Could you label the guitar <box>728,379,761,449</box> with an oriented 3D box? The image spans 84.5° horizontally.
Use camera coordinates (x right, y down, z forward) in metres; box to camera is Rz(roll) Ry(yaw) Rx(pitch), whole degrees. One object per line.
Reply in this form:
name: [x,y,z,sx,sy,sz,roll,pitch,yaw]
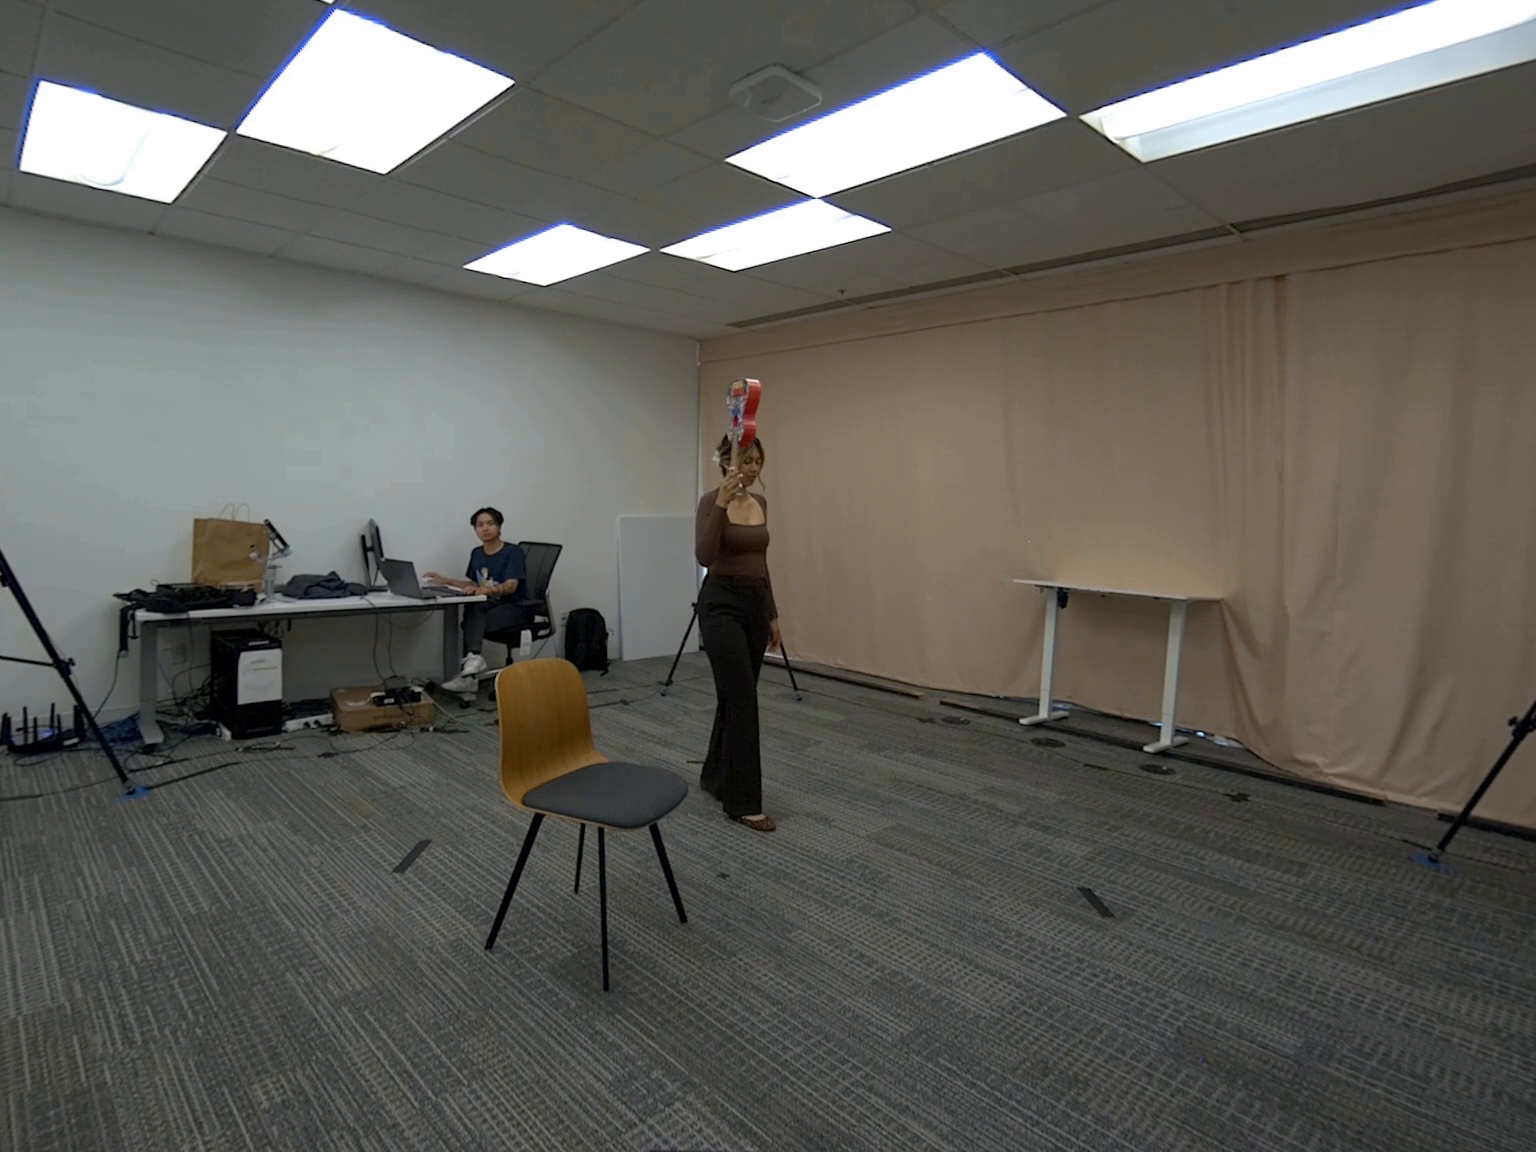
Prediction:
guitar: [-0.136,-0.569,3.495,0.069,0.495,0.198,3,11,-29]
